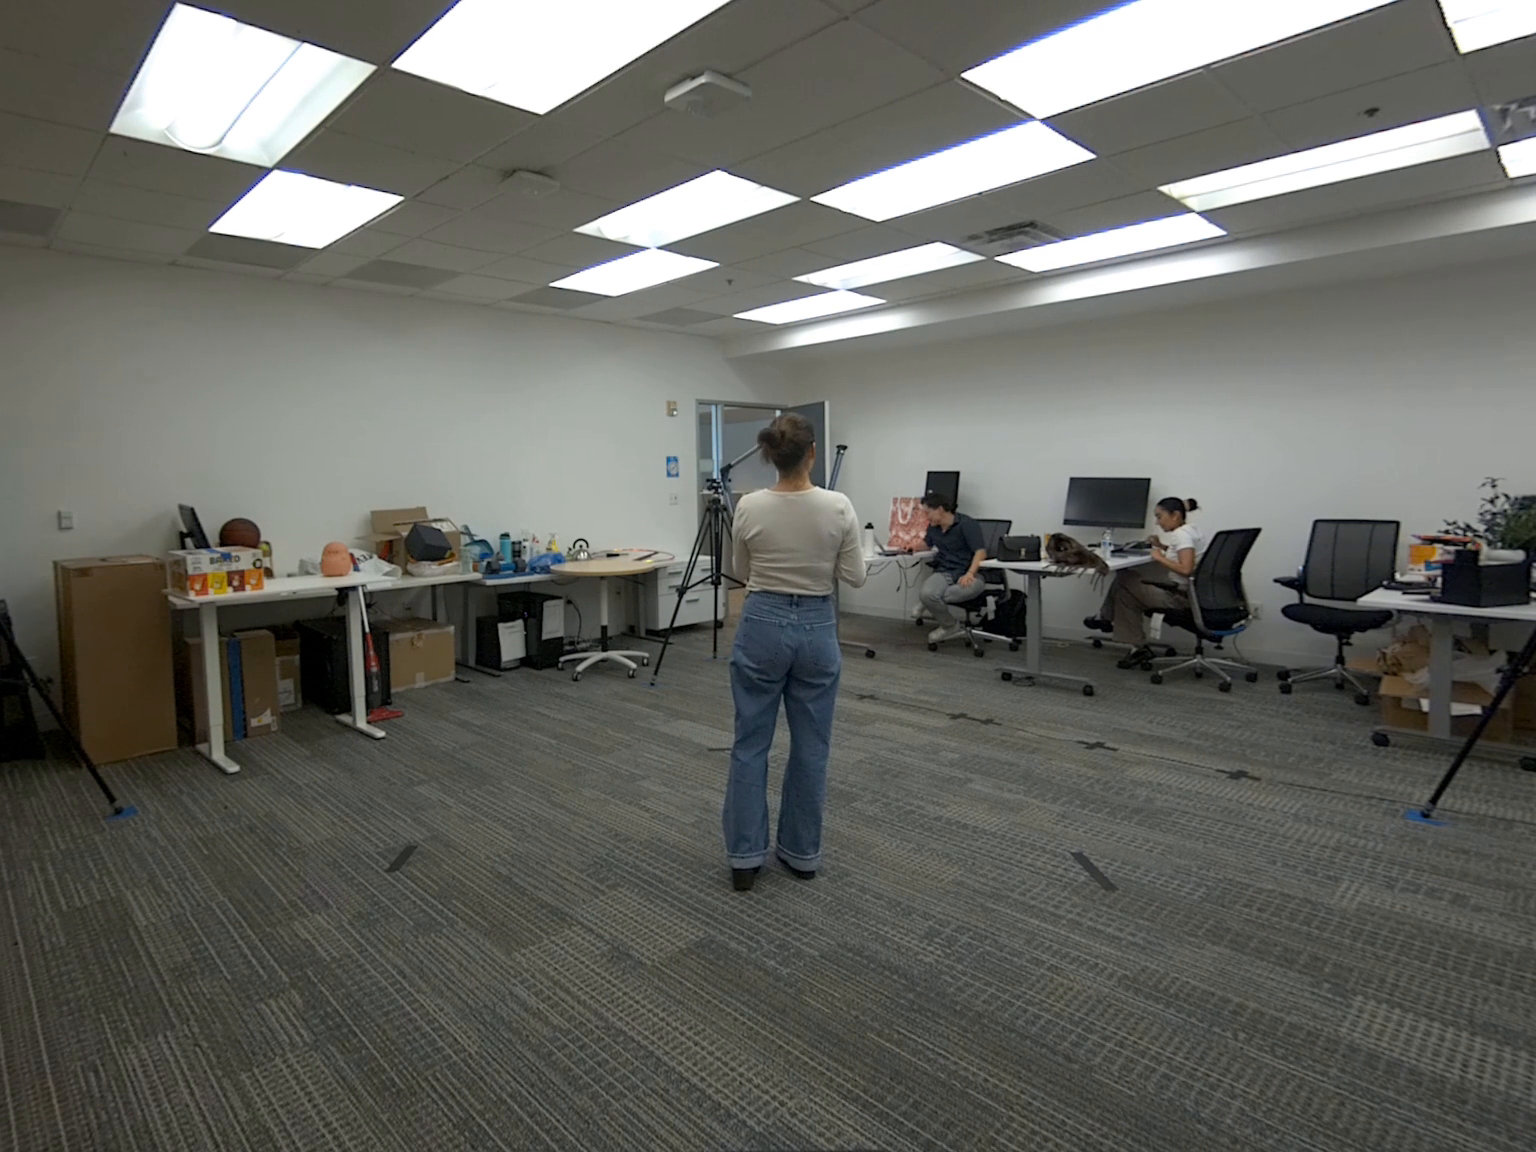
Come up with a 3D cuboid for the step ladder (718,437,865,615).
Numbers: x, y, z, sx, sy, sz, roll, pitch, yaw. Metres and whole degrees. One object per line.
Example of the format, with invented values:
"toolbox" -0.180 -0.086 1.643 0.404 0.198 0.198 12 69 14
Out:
"step ladder" 0.074 -0.186 3.360 0.339 0.617 0.435 9 -22 -30
